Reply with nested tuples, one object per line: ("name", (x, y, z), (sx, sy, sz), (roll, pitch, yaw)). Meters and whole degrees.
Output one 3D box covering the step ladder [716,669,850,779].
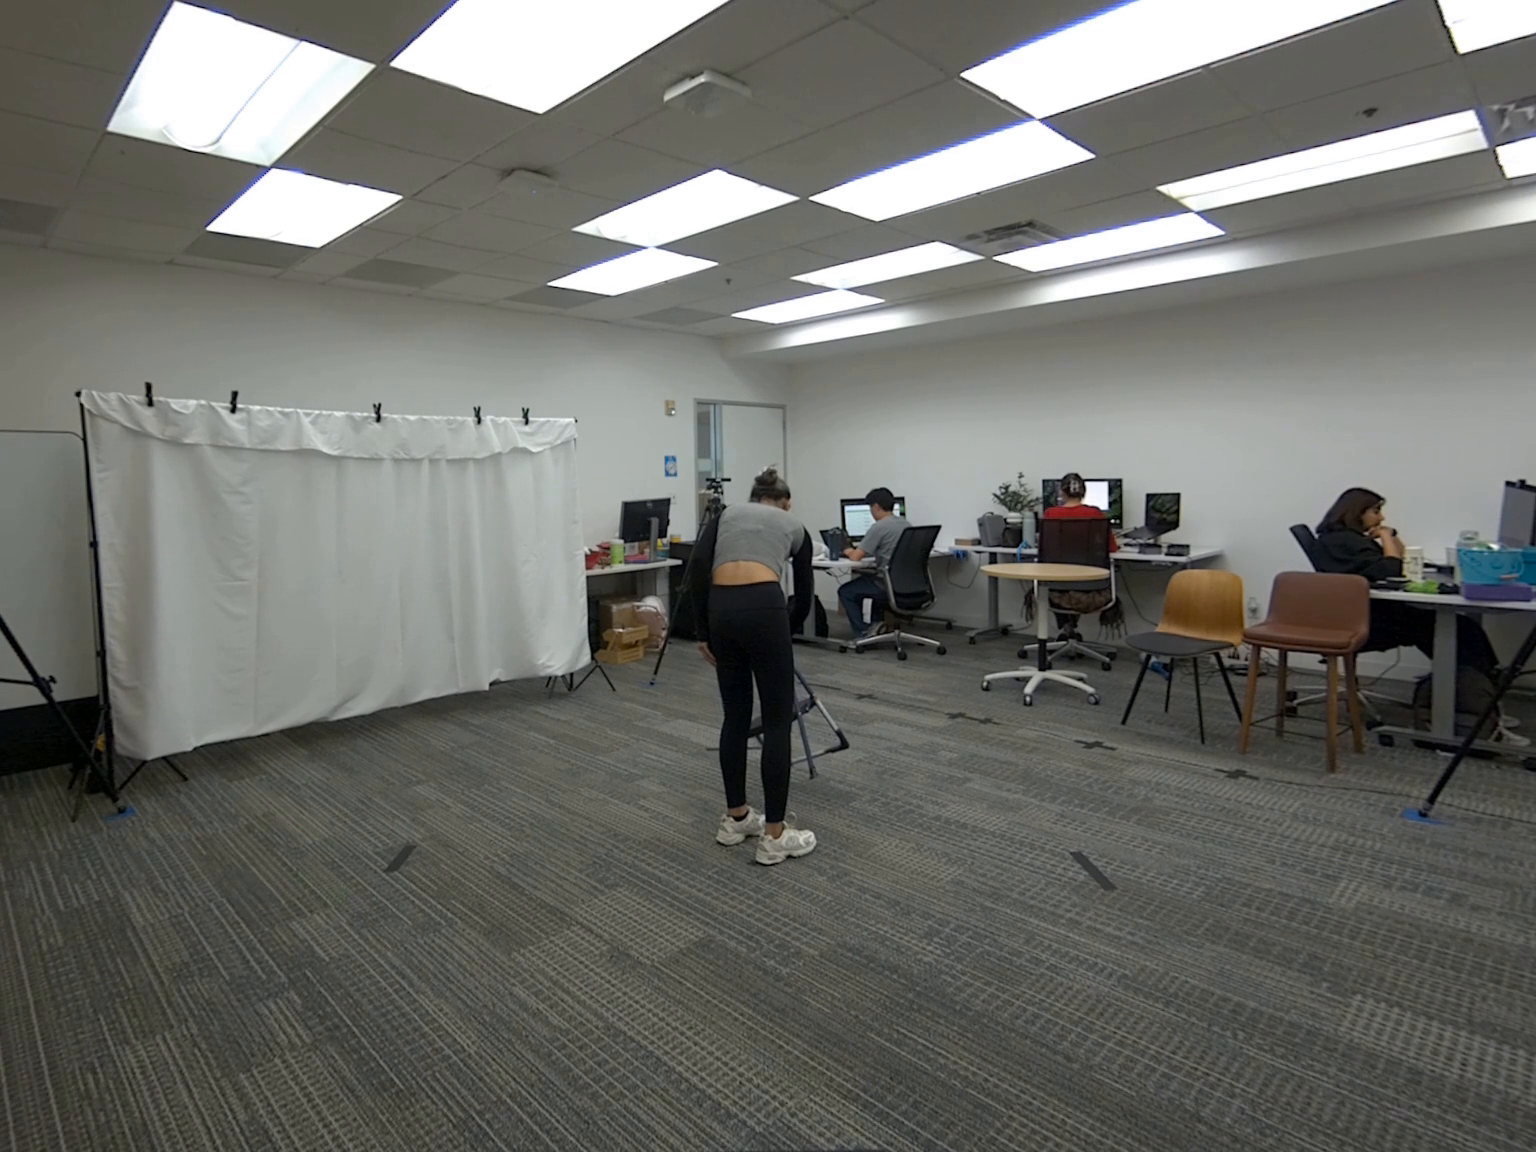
("step ladder", (0.000, 0.583, 3.720), (0.435, 0.610, 0.343), (-28, -6, 34))
